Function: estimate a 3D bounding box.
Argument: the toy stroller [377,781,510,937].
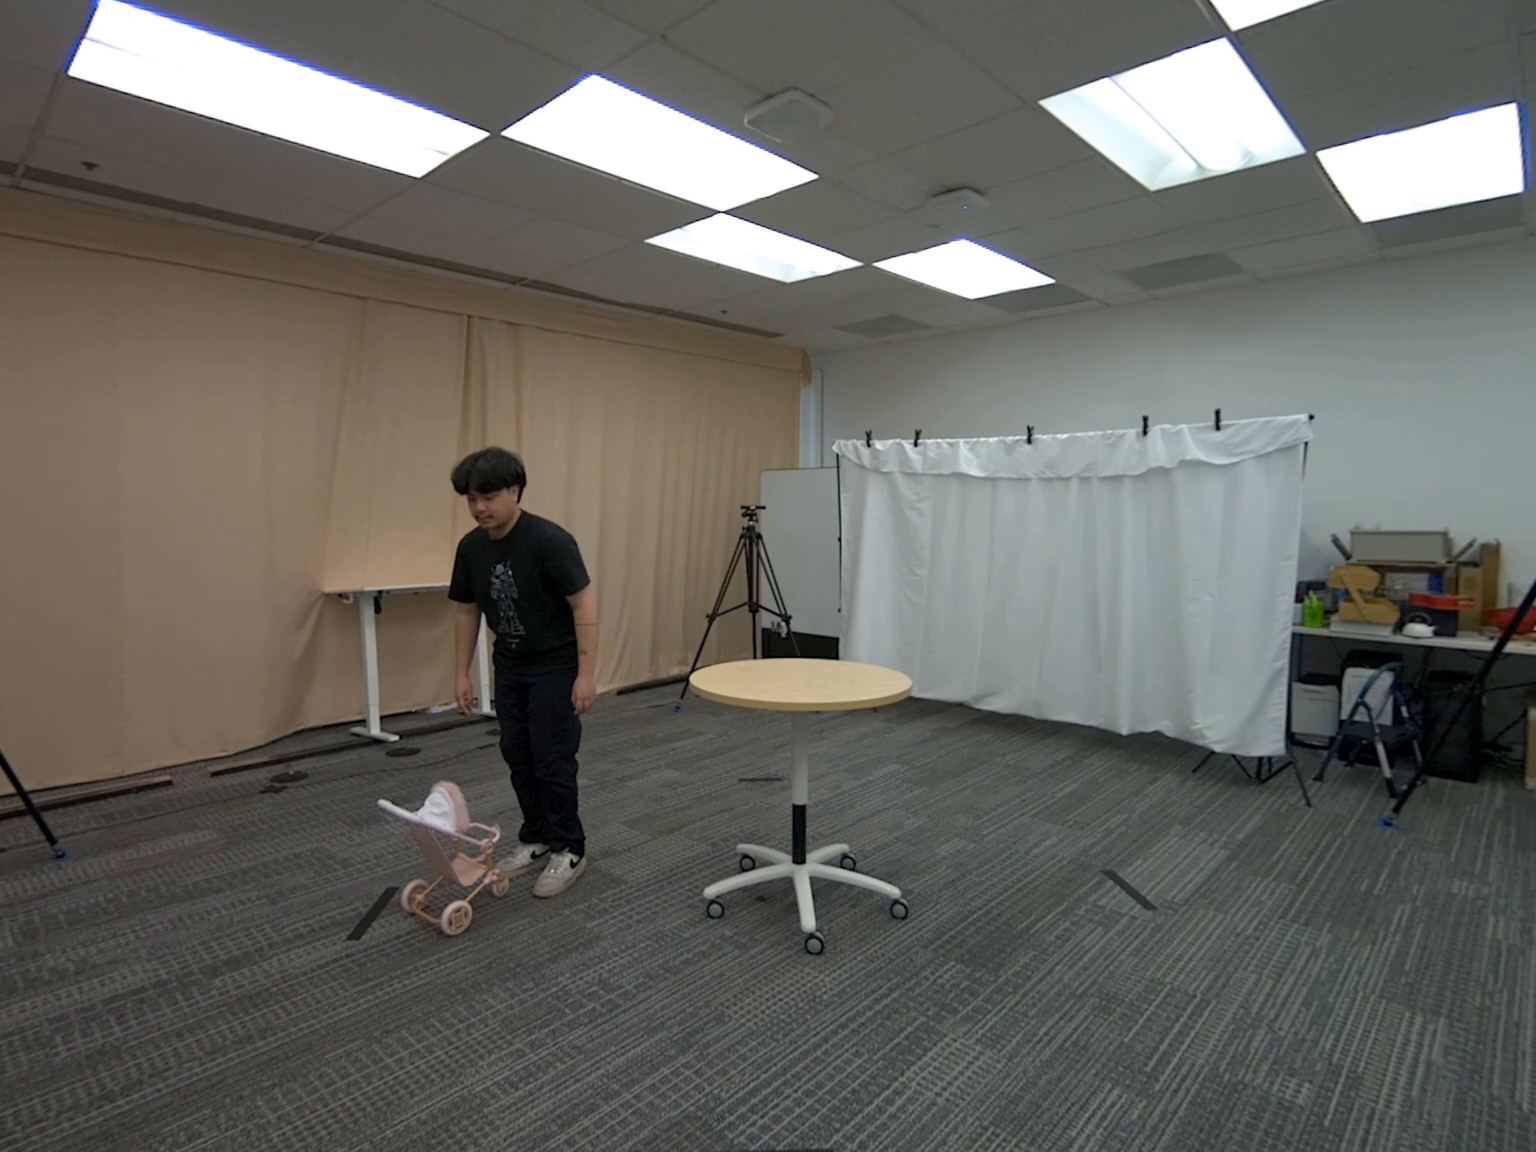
[{"bbox_3d":[-1.080,0.938,2.869,0.290,0.529,0.334,0,18,43],"label":"toy stroller"}]
